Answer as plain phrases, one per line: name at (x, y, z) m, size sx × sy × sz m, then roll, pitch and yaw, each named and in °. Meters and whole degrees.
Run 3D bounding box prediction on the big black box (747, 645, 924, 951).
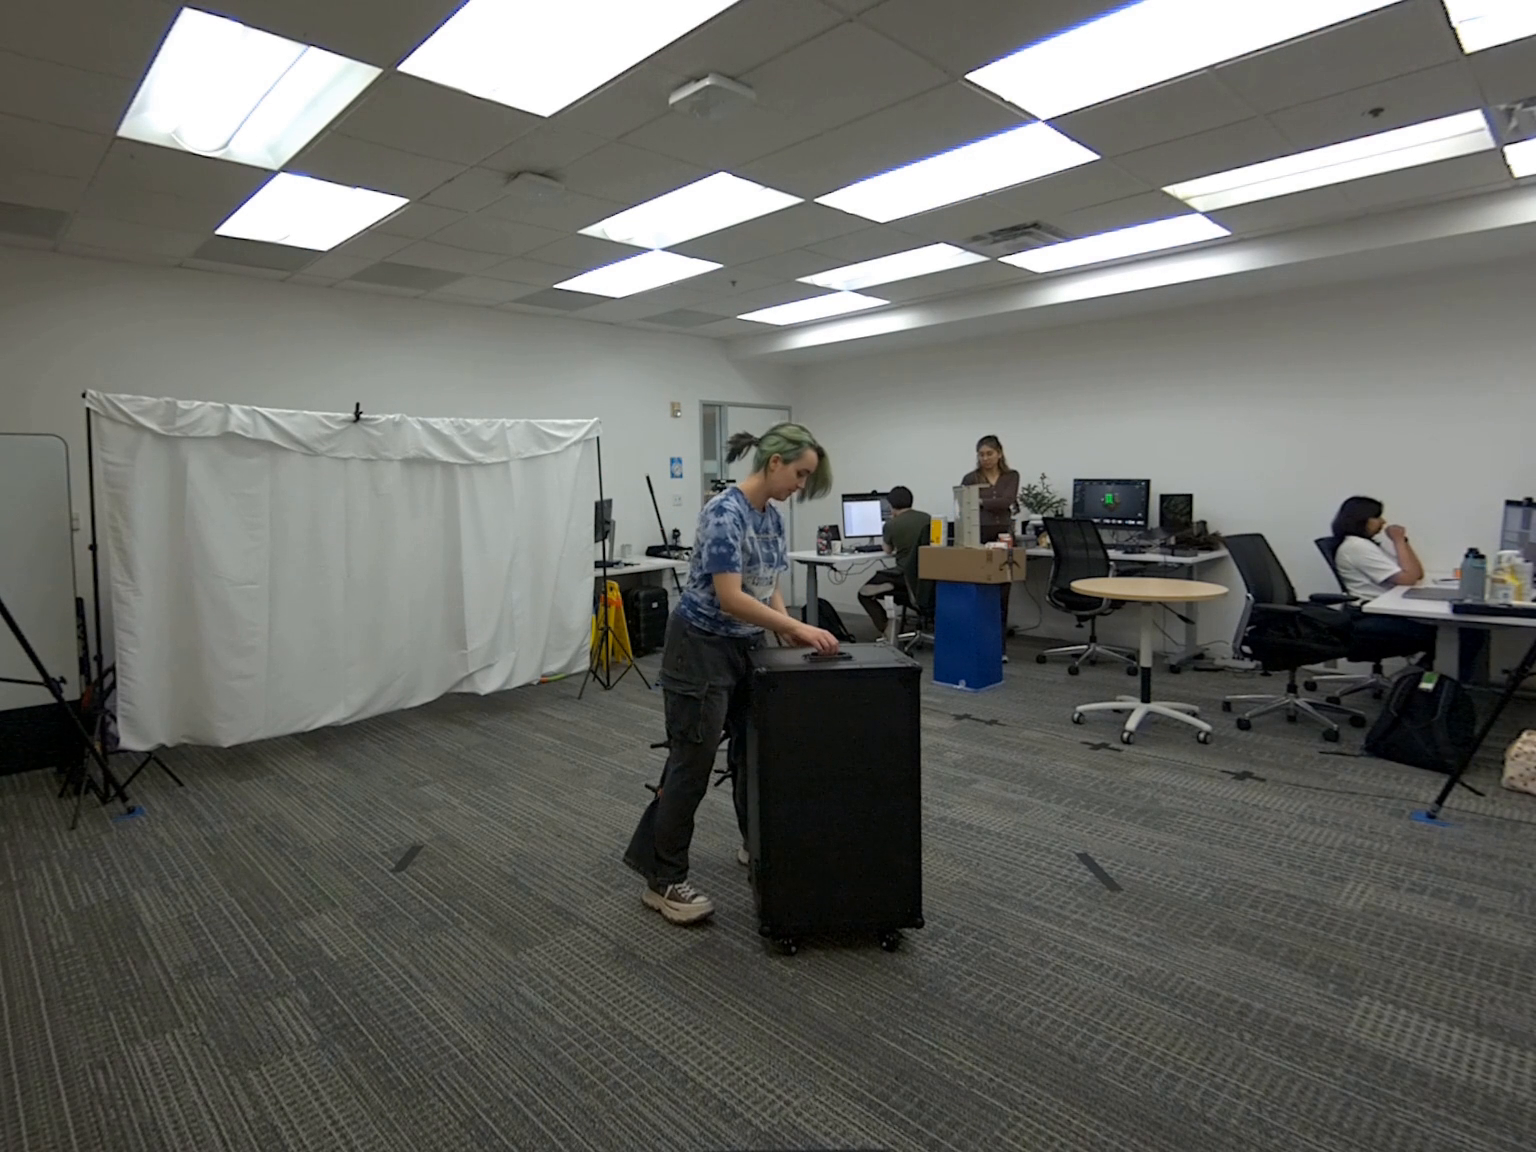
big black box at (0.191, 0.673, 2.650) m, size 0.520 × 0.858 × 0.399 m, roll -1°, pitch 4°, yaw -3°
